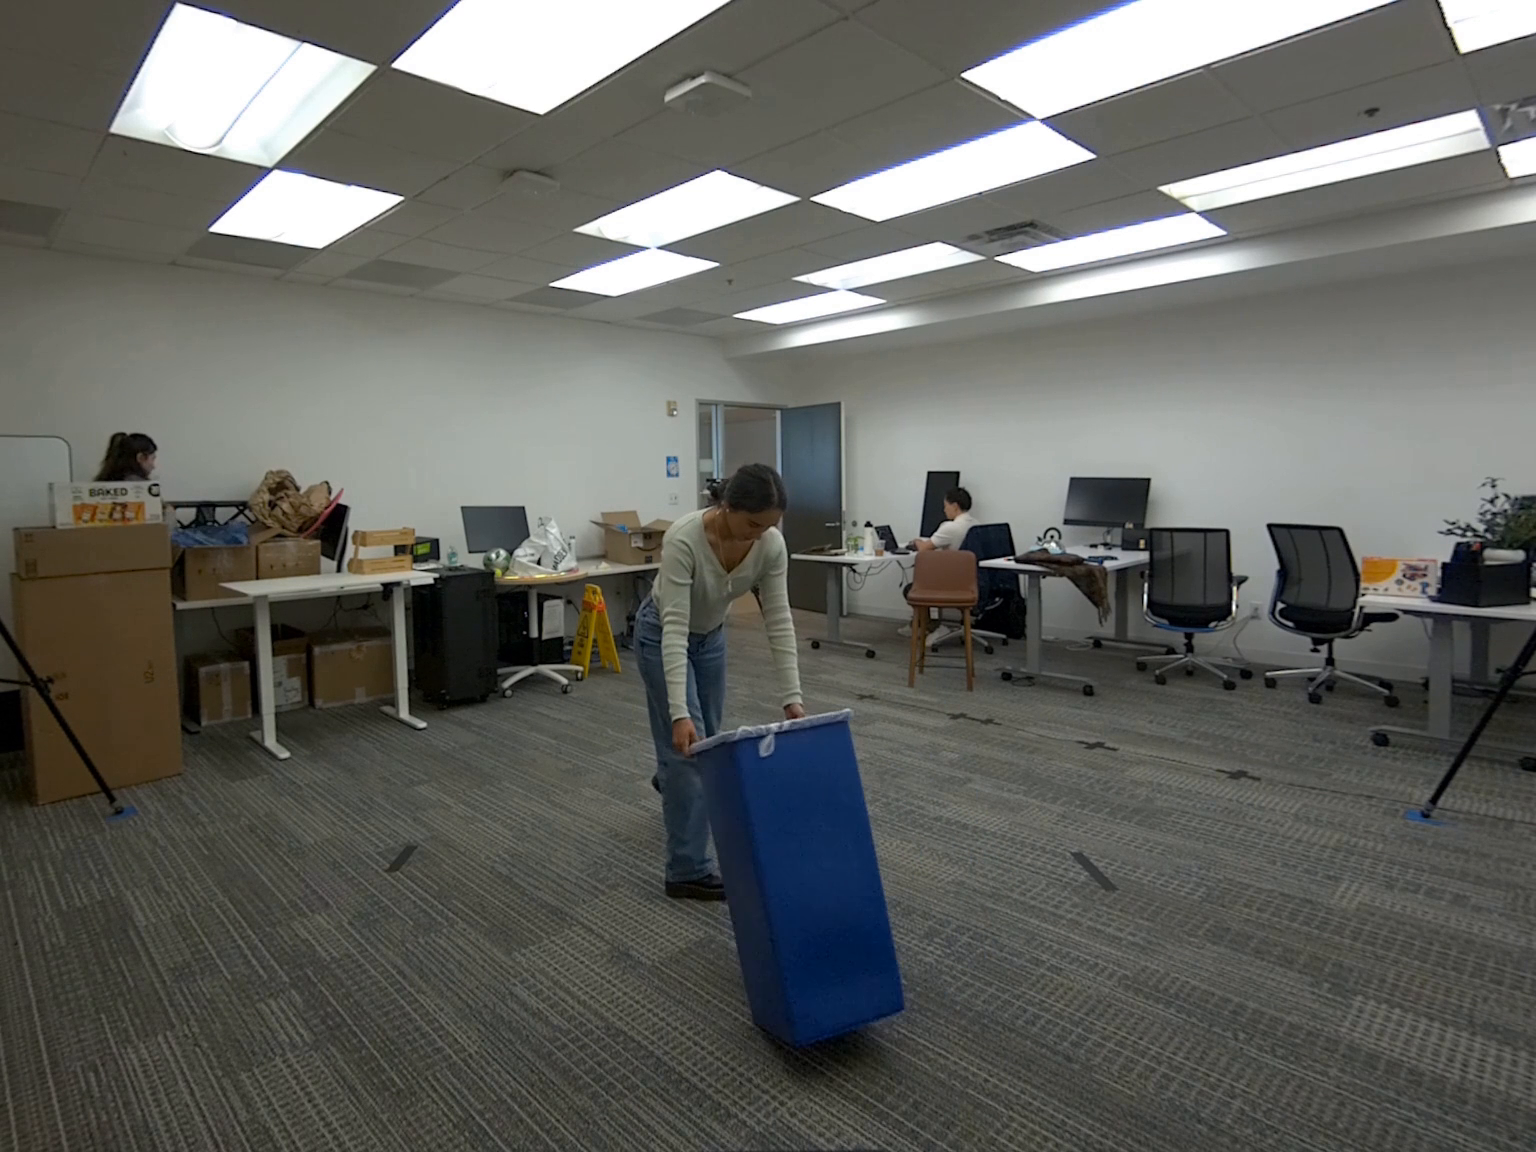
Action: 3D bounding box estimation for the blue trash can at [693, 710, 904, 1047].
[{"bbox_3d":[0.078,0.755,2.236,0.371,0.726,0.375,-5,-17,-23],"label":"blue trash can"}]
